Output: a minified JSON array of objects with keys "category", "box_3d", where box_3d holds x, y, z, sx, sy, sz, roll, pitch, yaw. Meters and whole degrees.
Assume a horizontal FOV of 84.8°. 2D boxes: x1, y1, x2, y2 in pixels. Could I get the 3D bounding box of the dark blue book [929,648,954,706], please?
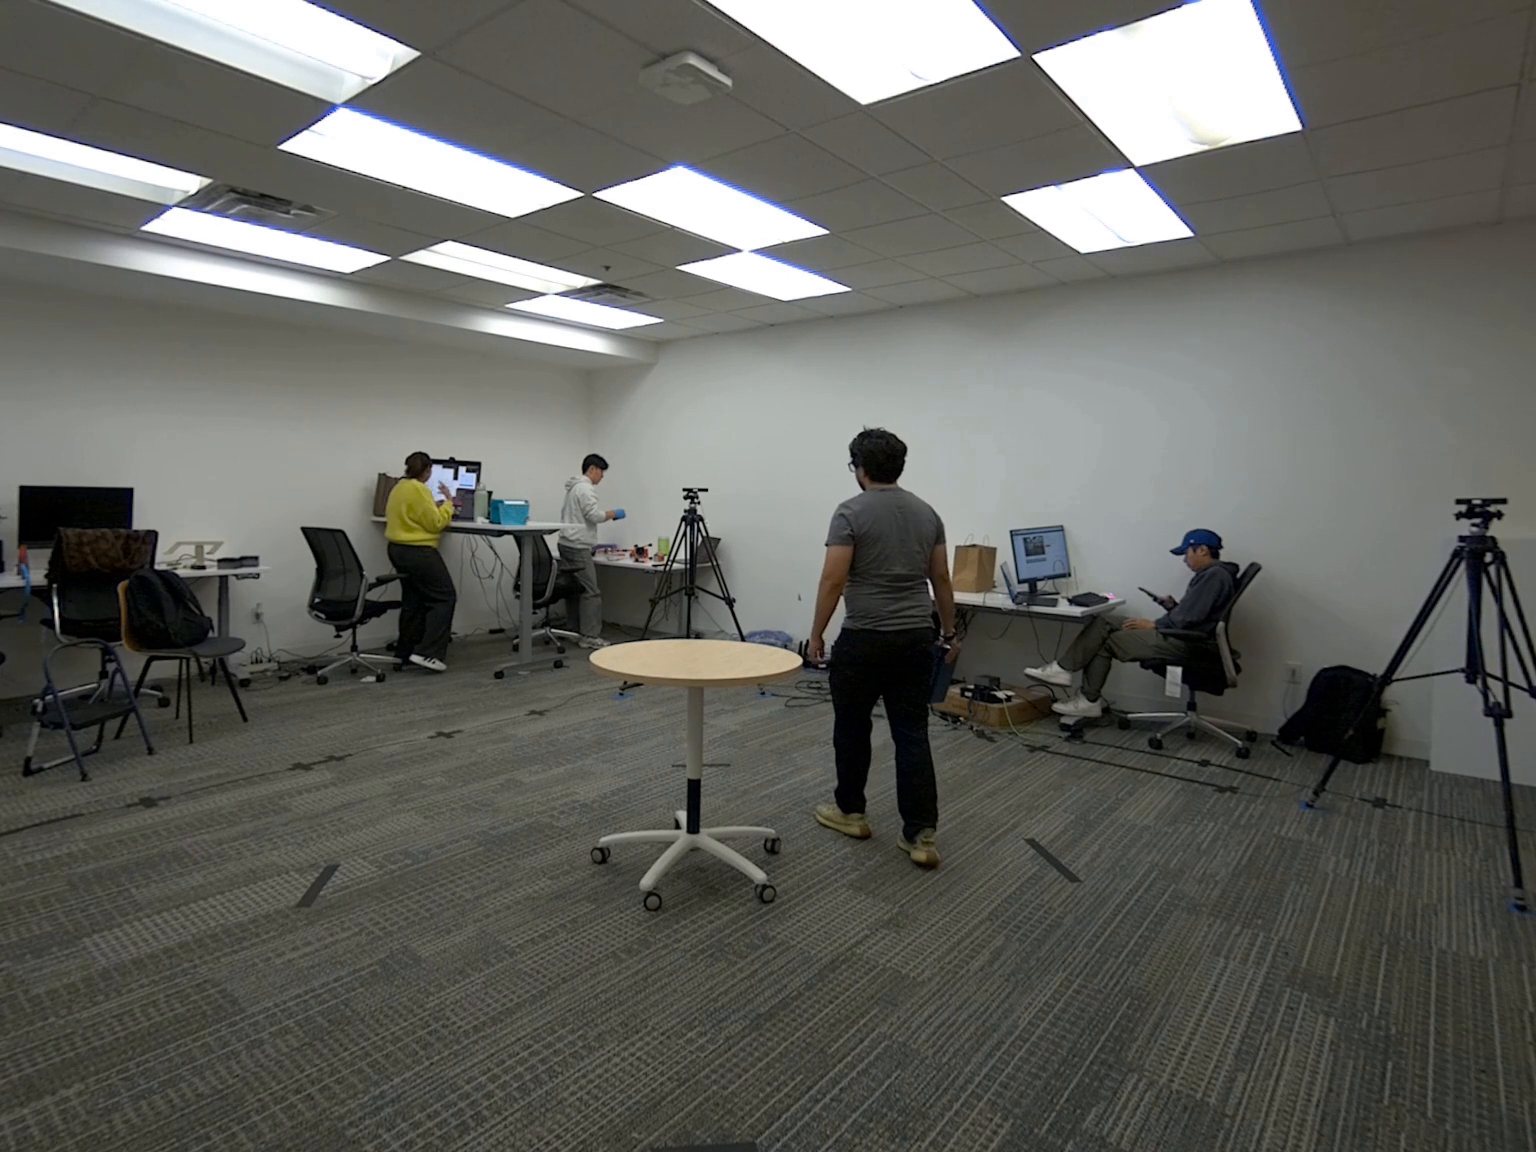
[{"category":"dark blue book","box_3d":[0.721,0.411,3.622,0.047,0.244,0.158,18,5,35]}]
